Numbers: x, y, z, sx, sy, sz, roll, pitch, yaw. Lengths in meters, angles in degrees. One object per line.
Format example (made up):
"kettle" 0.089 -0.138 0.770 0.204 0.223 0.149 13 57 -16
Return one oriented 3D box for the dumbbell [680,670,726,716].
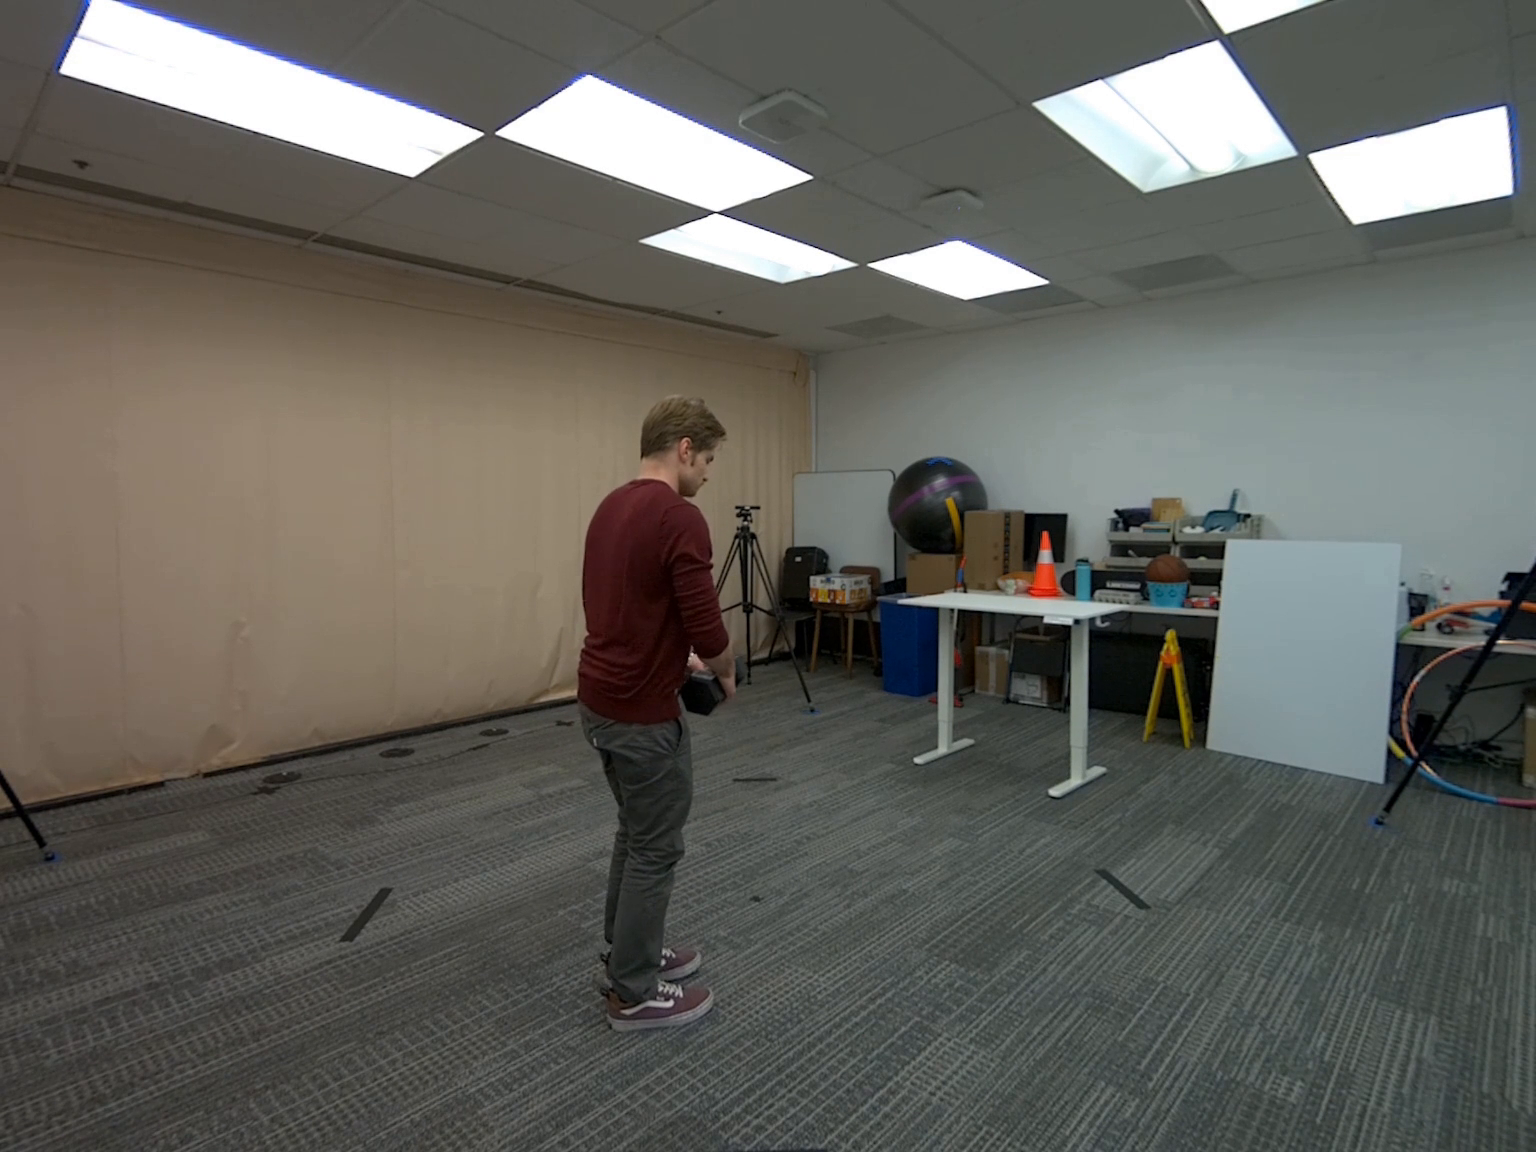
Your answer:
"dumbbell" -0.146 0.307 2.420 0.110 0.123 0.289 41 19 7
